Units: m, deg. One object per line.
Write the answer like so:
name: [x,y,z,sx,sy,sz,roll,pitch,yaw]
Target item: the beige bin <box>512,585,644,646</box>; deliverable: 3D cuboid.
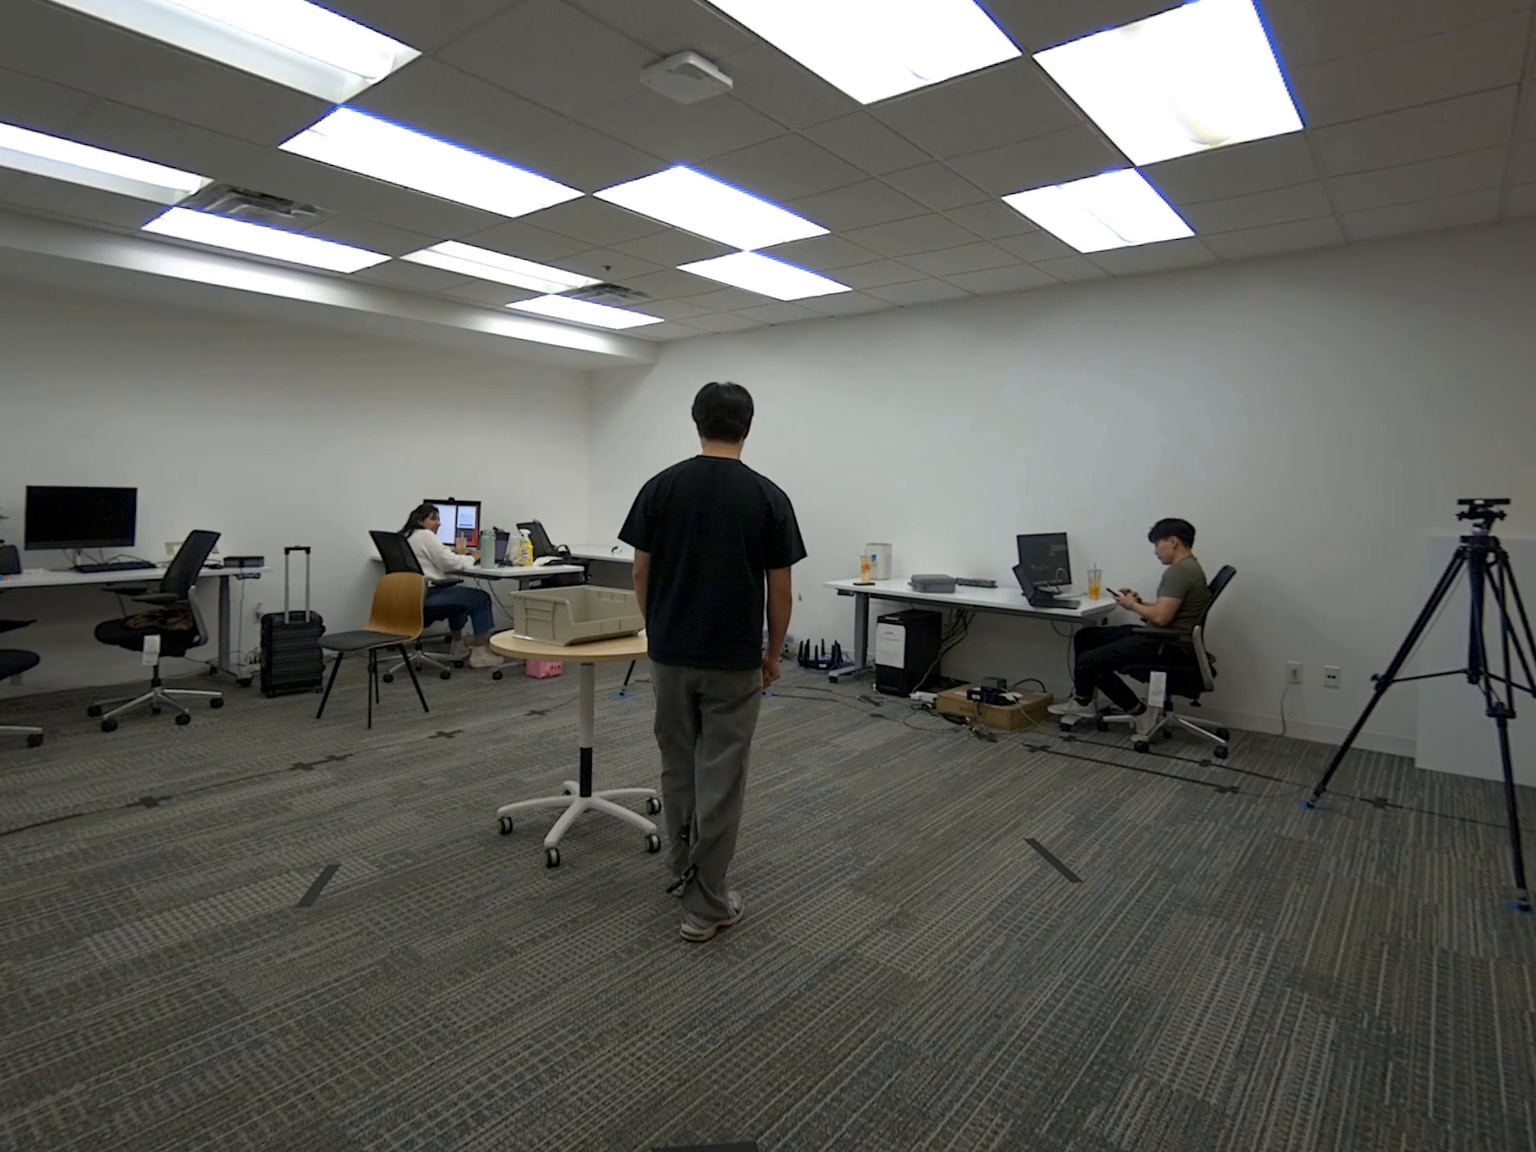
beige bin: [-0.774,0.157,3.449,0.390,0.188,0.410,4,6,37]
